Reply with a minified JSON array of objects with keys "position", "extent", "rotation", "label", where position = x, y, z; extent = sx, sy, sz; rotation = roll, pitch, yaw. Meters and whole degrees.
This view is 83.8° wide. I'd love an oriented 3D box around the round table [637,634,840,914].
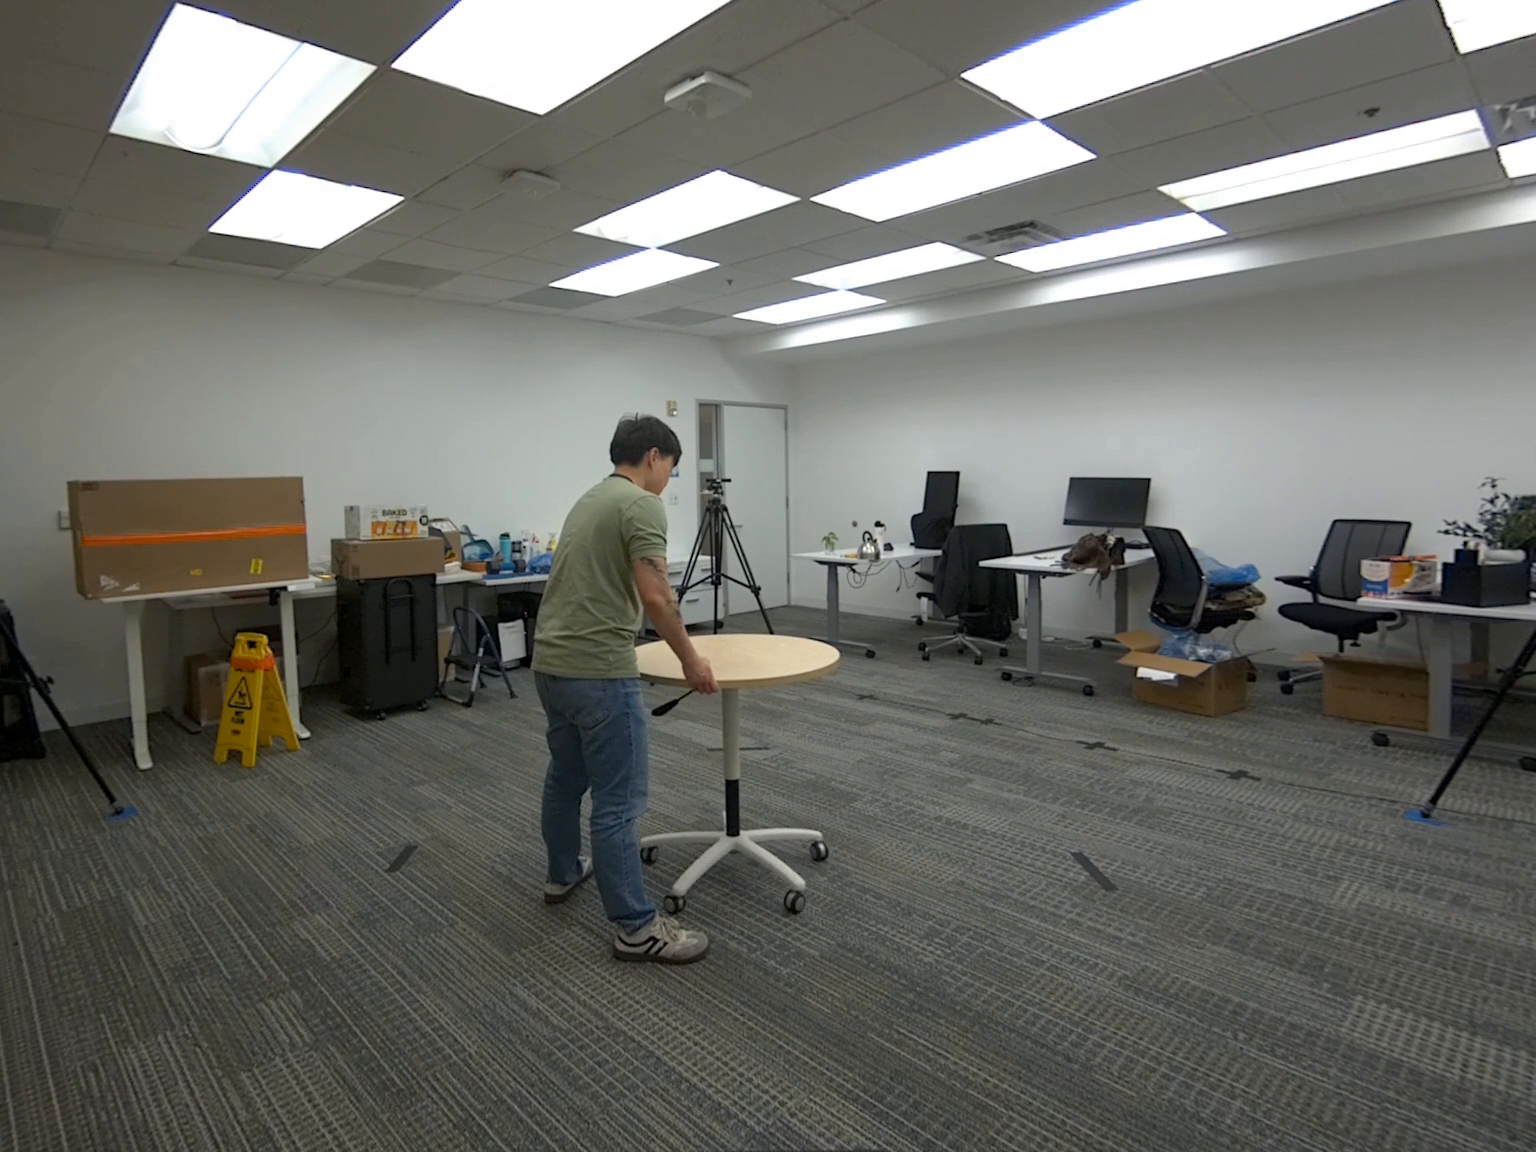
[{"position":[-0.129,0.667,3.010],"extent":[0.763,0.791,0.768],"rotation":[-2,5,-2],"label":"round table"}]
